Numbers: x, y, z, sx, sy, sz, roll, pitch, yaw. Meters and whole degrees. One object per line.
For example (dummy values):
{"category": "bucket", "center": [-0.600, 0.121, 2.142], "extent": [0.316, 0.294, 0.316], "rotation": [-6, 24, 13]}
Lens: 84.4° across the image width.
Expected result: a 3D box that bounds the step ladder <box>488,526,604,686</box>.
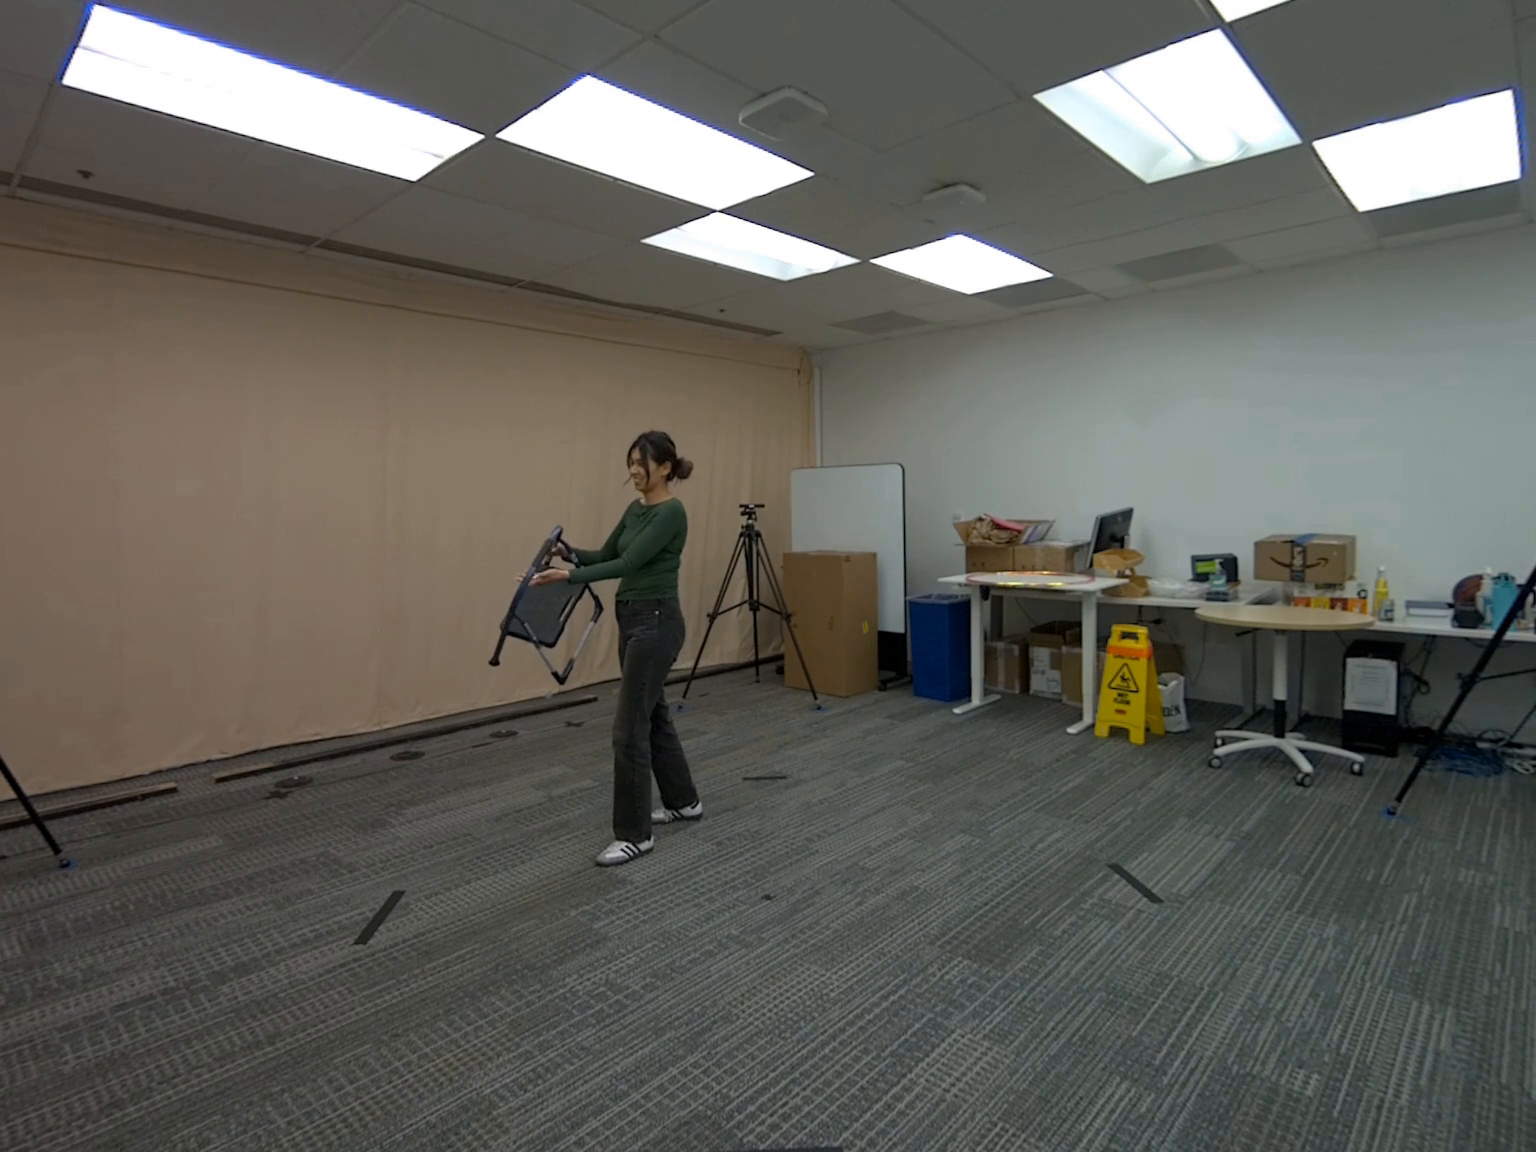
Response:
{"category": "step ladder", "center": [-0.928, 0.077, 3.397], "extent": [0.354, 0.433, 0.596], "rotation": [15, -37, 9]}
